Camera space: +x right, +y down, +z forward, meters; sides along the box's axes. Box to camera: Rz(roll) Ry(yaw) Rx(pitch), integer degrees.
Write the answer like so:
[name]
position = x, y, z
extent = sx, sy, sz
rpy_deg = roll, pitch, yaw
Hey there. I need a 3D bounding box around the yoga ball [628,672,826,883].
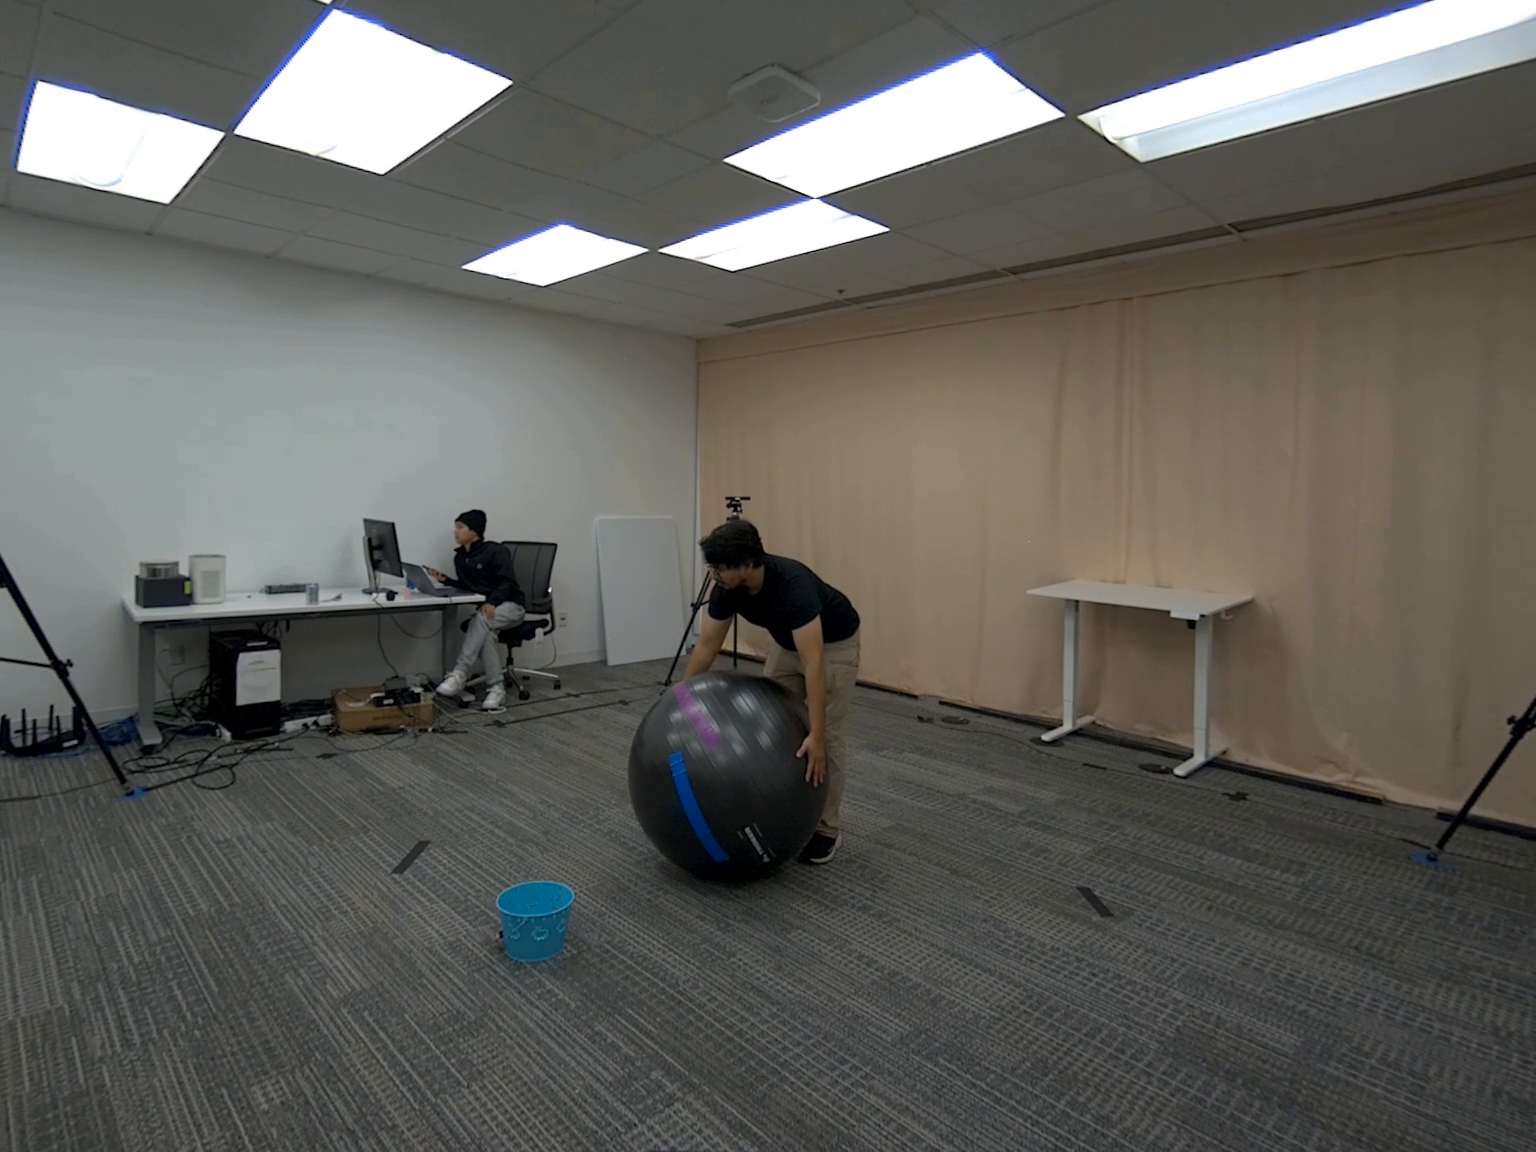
[yoga ball]
position = -0.150, 0.742, 3.166
extent = 0.757, 0.756, 0.761
rpy_deg = 1, 4, -1
